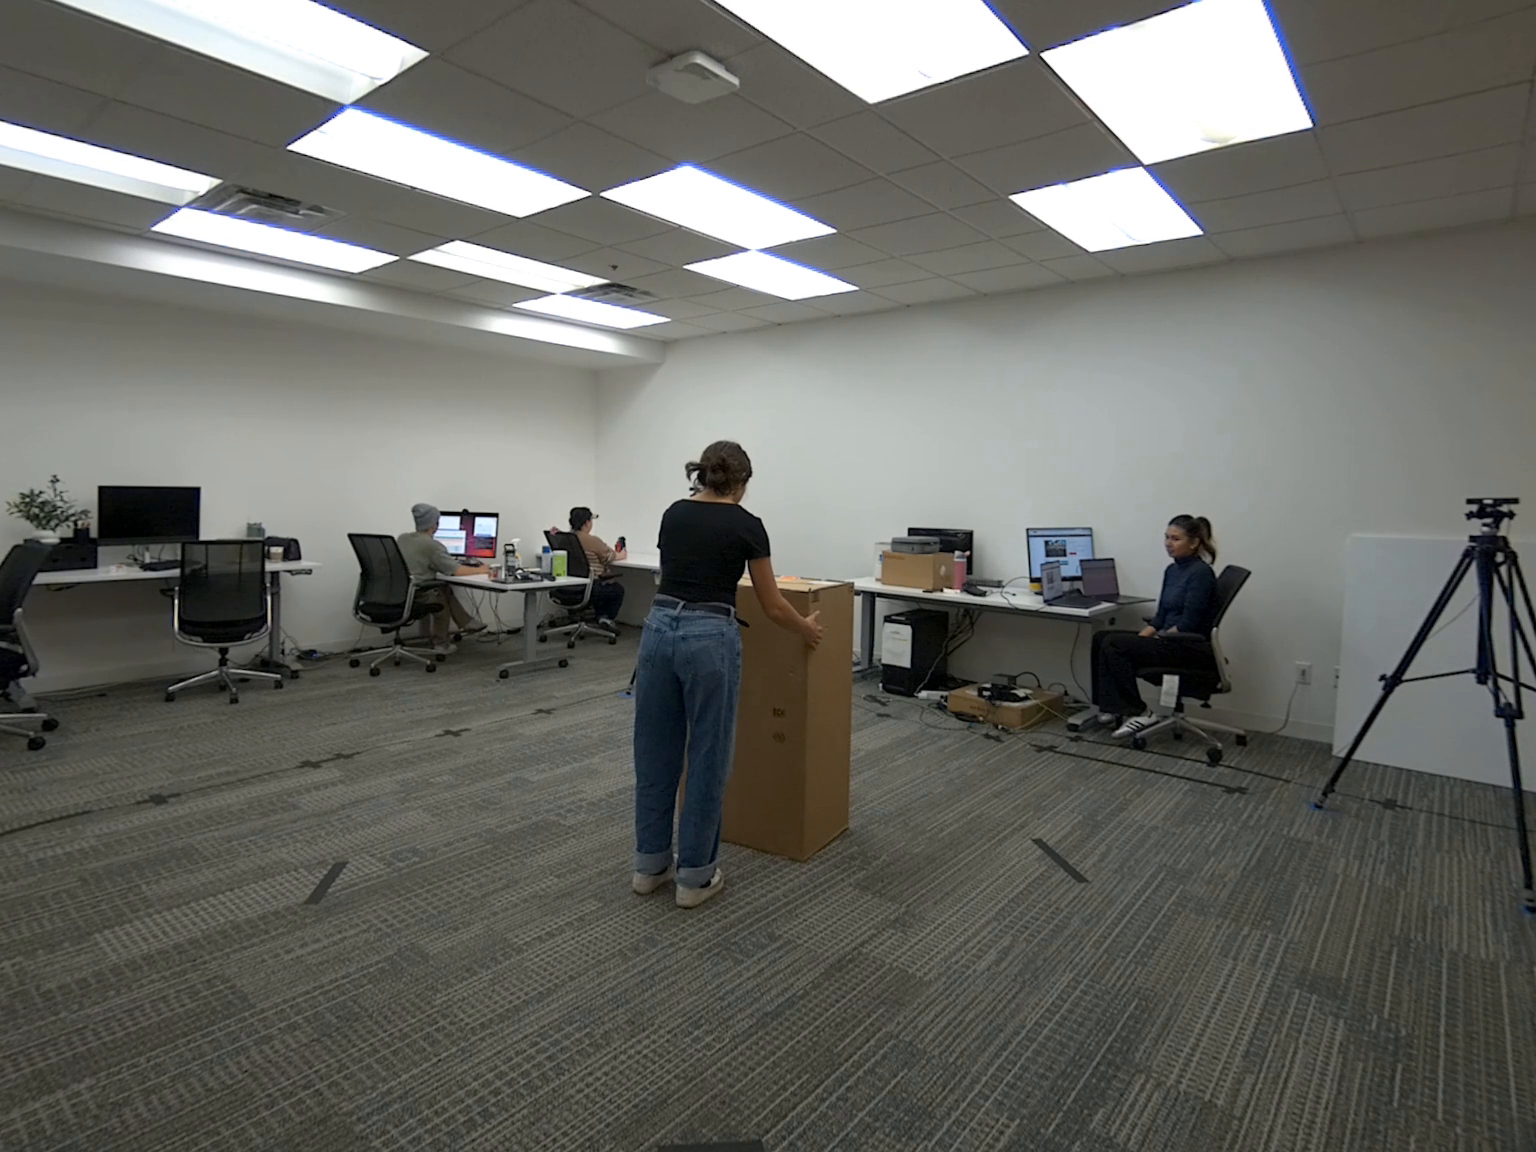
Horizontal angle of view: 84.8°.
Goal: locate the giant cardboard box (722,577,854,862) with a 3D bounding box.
[{"bbox_3d":[-0.007,0.526,3.478,0.595,1.023,0.415,3,3,31],"label":"giant cardboard box"}]
